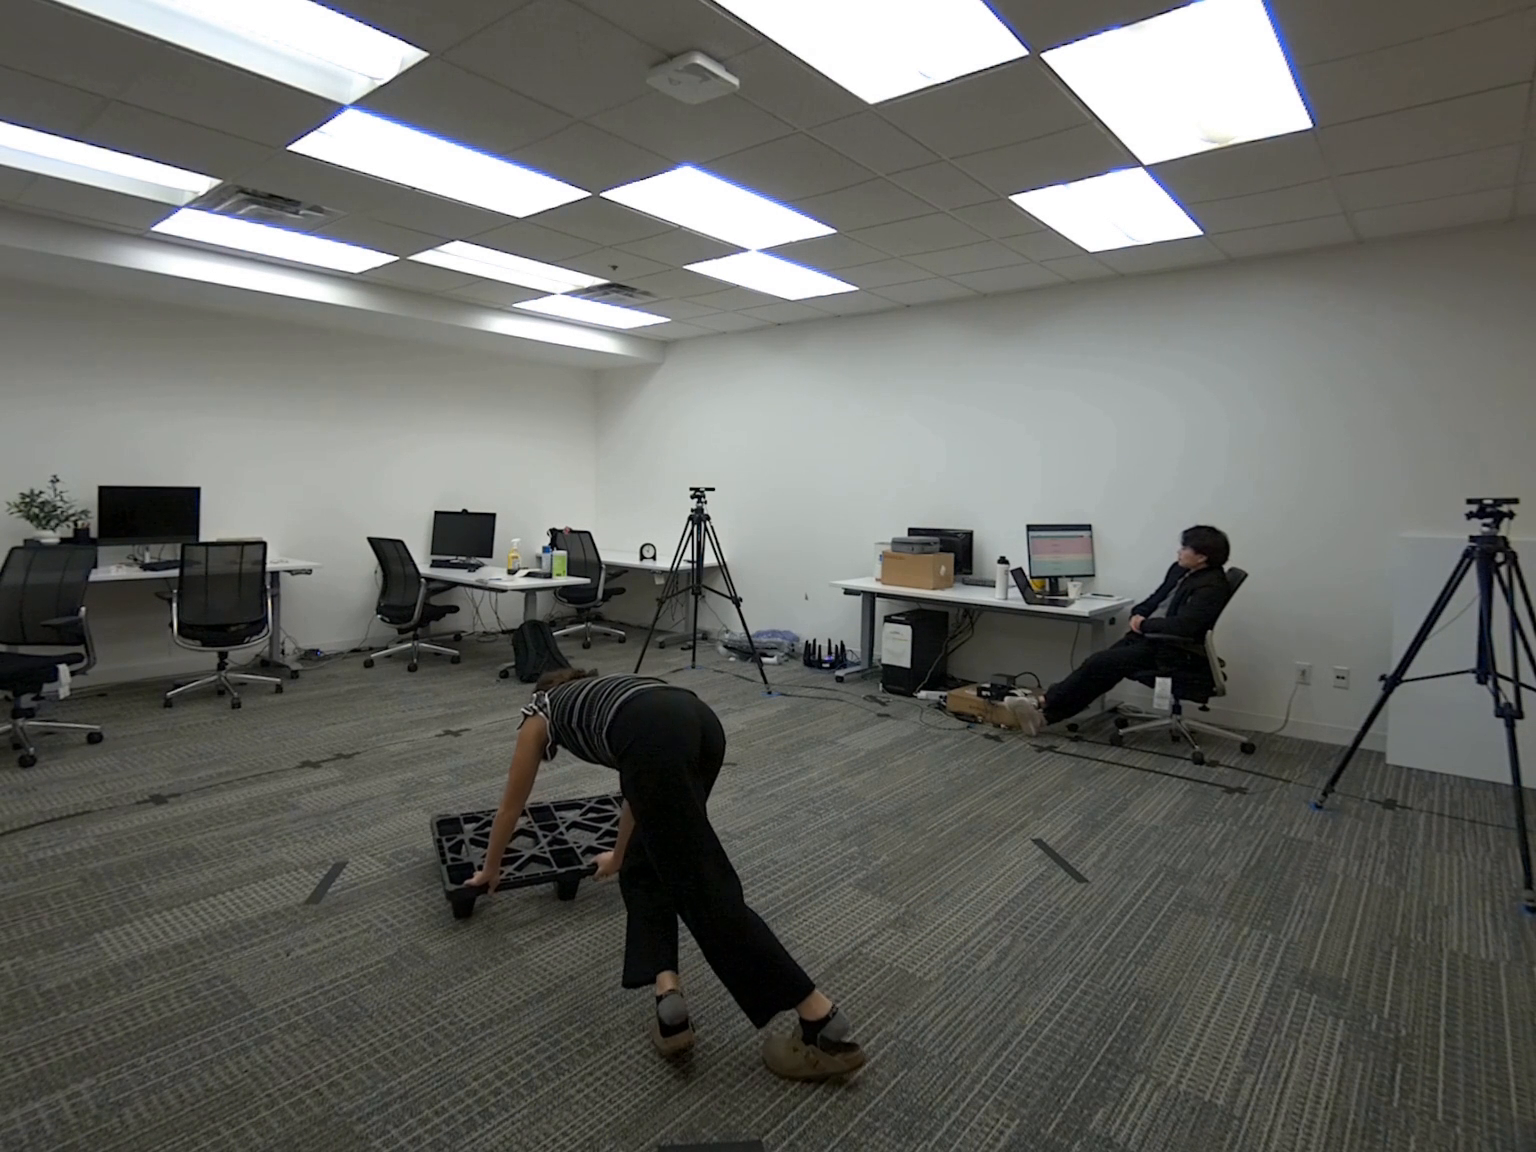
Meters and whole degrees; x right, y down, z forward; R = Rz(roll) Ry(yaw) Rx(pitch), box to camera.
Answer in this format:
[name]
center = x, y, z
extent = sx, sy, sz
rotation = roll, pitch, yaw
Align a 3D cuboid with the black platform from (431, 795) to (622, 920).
[black platform]
center = -0.790, 0.990, 3.068
extent = 0.787, 0.142, 0.622
rotation = -2, 7, -25
